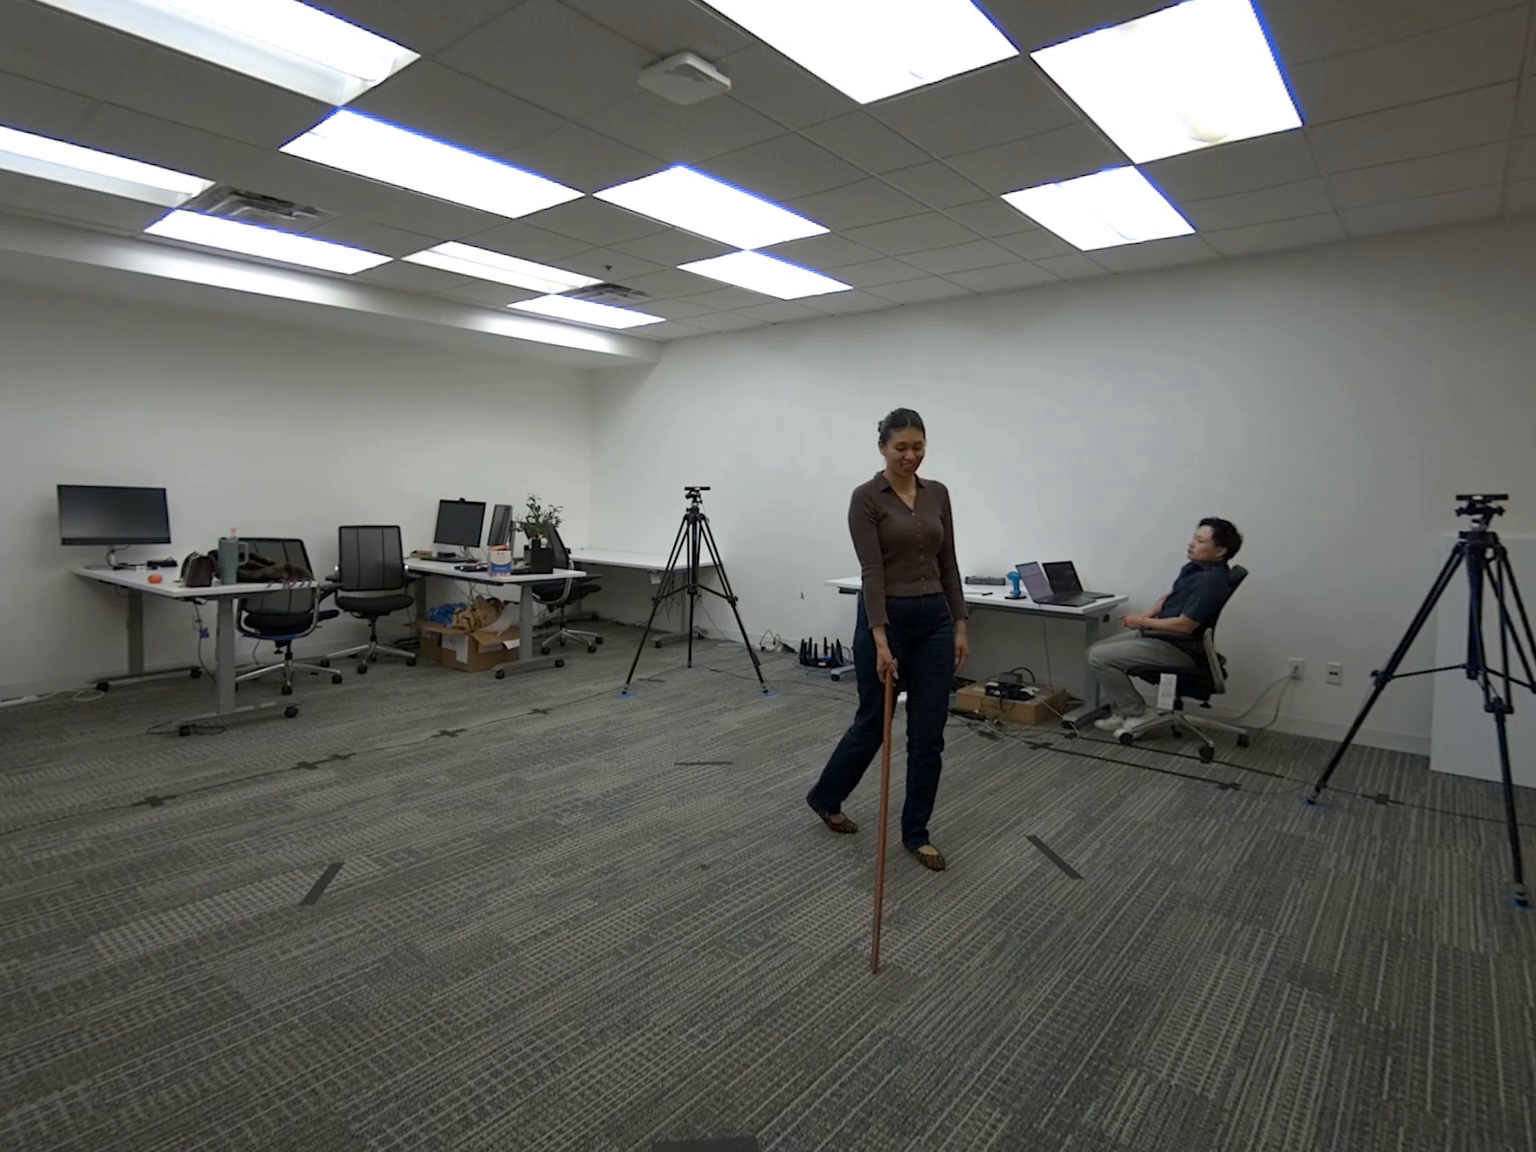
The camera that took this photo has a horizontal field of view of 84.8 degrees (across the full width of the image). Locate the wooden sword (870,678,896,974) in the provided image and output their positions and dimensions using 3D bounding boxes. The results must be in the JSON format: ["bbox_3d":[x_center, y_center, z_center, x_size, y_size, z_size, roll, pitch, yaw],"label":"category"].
[{"bbox_3d":[0.379,0.726,2.755,0.051,1.047,0.024,11,-34,-4],"label":"wooden sword"}]
